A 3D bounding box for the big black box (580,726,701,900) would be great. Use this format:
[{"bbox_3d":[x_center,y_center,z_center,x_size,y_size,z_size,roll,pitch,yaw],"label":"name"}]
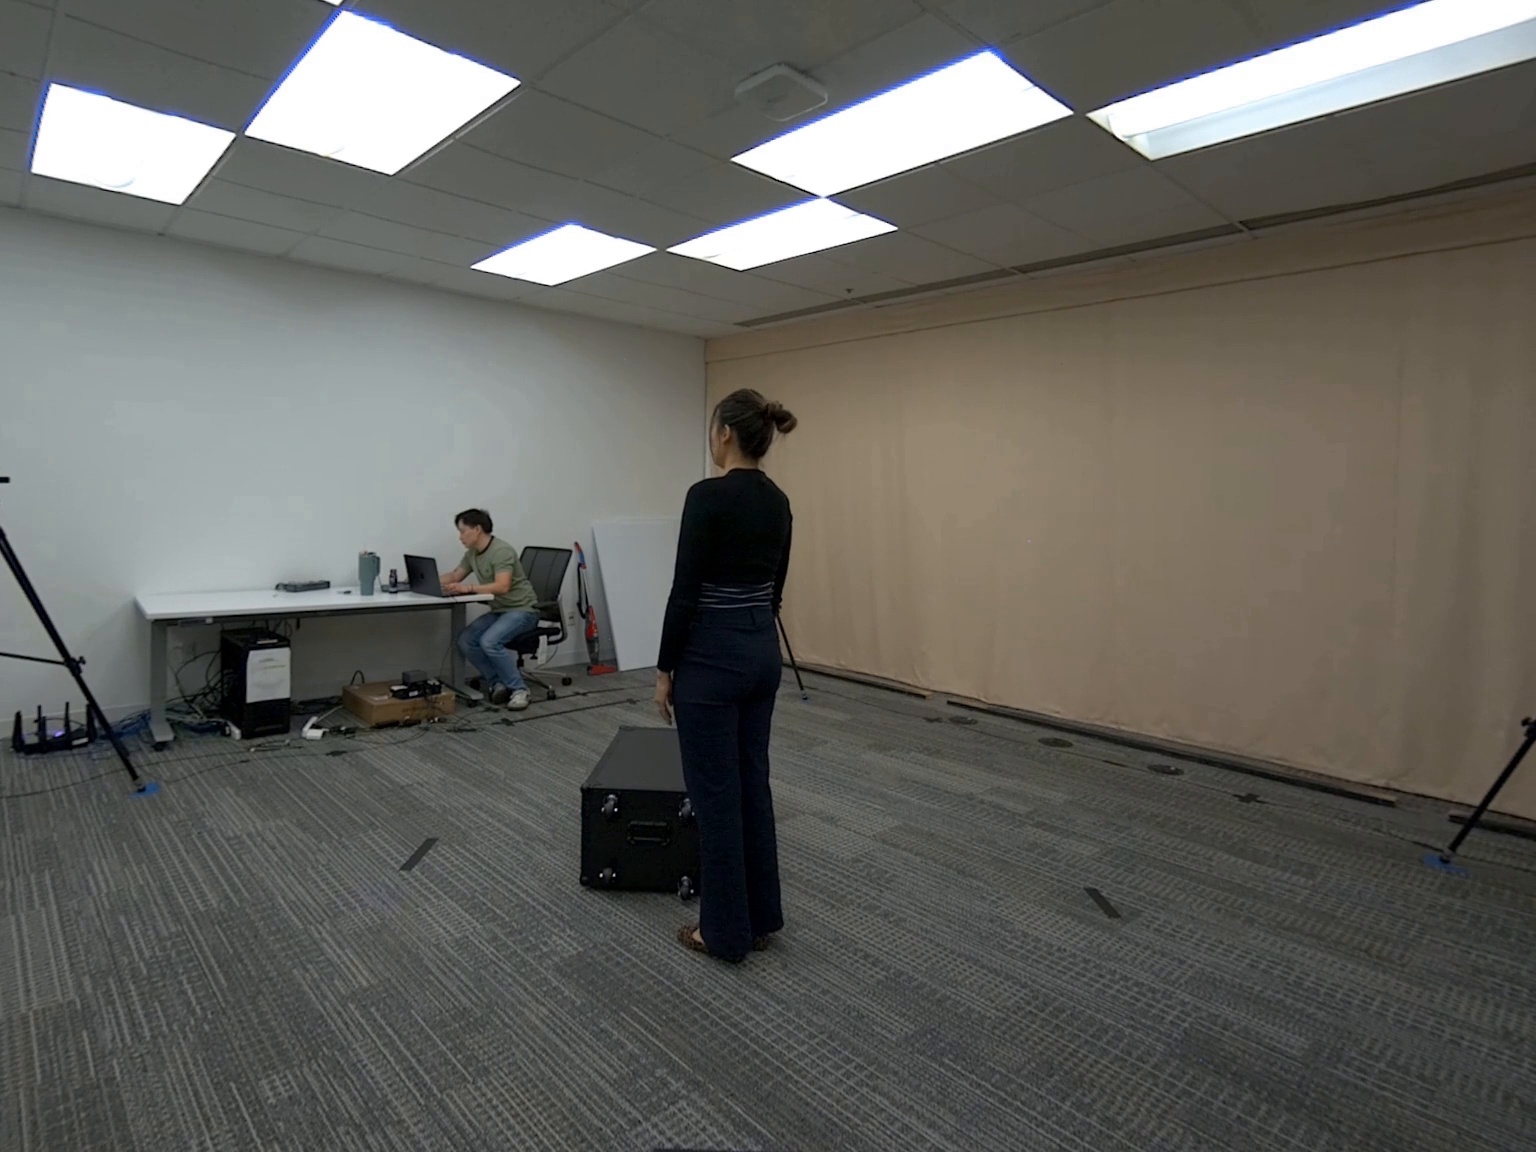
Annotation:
[{"bbox_3d":[-0.424,0.888,3.273,0.522,0.395,0.863,2,5,1],"label":"big black box"}]
